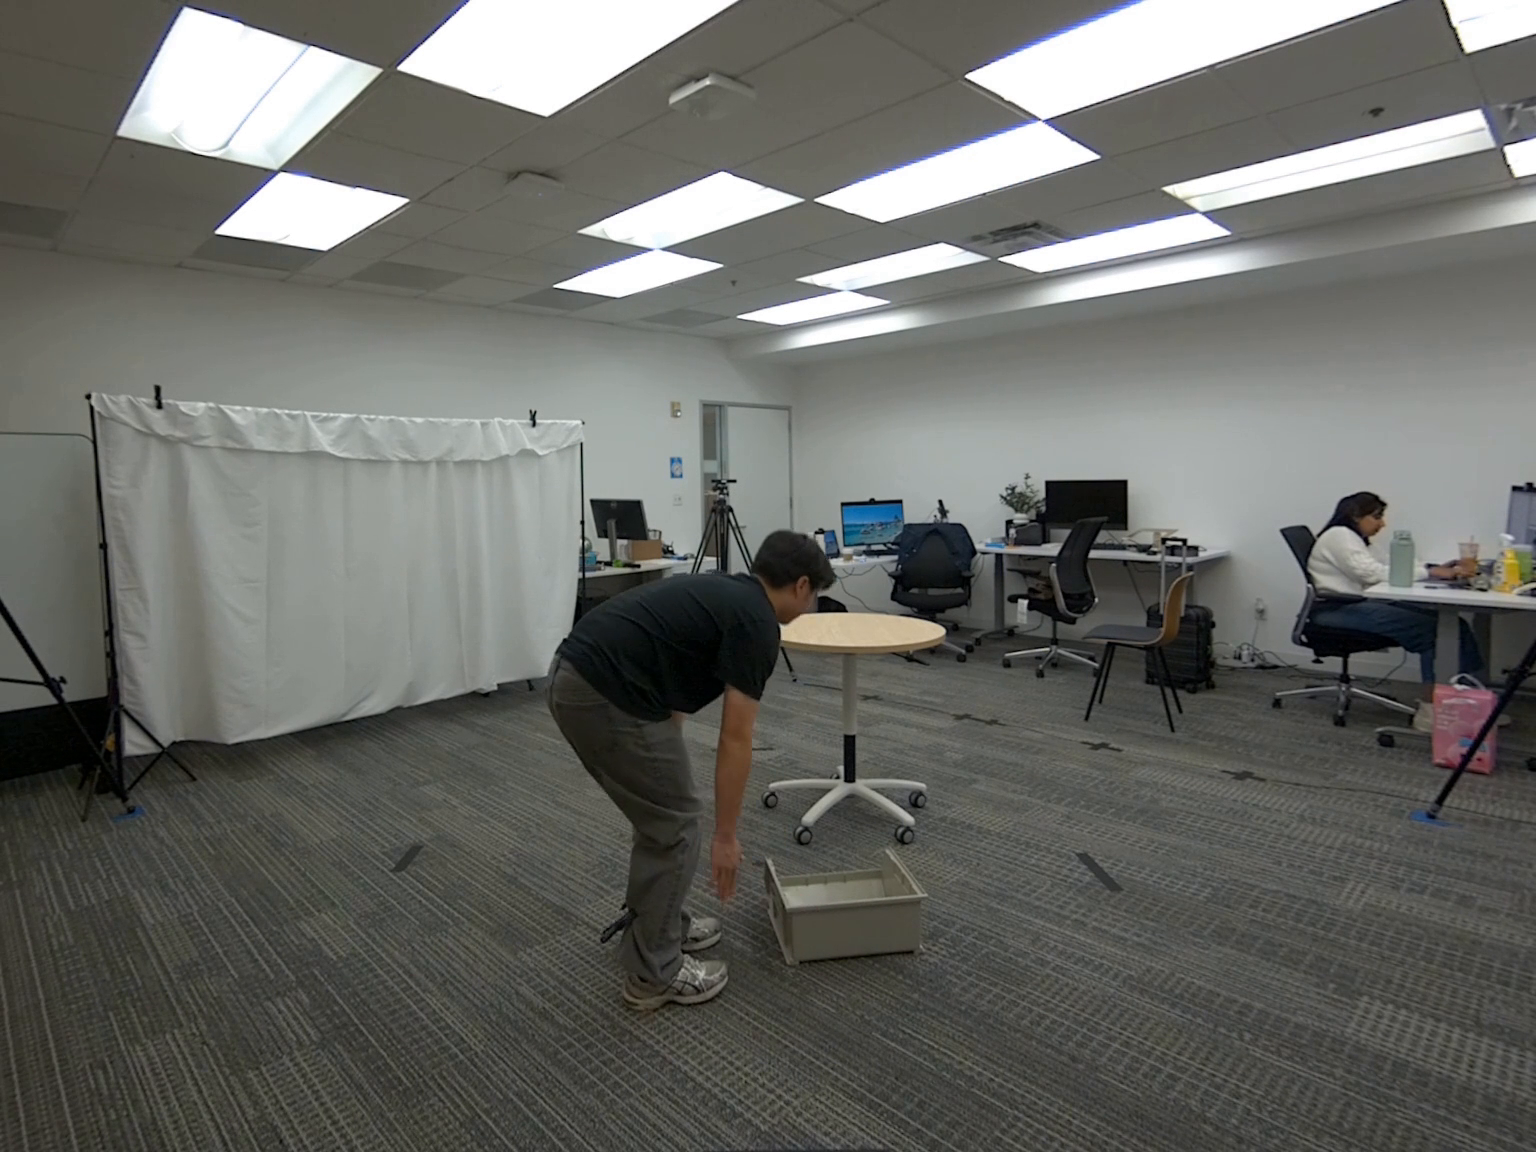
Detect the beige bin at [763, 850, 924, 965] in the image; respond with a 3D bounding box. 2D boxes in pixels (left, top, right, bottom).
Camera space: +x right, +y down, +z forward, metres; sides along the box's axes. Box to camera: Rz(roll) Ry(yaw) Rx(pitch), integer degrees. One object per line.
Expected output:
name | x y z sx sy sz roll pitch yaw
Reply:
beige bin | 0.230 1.009 2.648 0.419 0.188 0.383 -2 7 -10
